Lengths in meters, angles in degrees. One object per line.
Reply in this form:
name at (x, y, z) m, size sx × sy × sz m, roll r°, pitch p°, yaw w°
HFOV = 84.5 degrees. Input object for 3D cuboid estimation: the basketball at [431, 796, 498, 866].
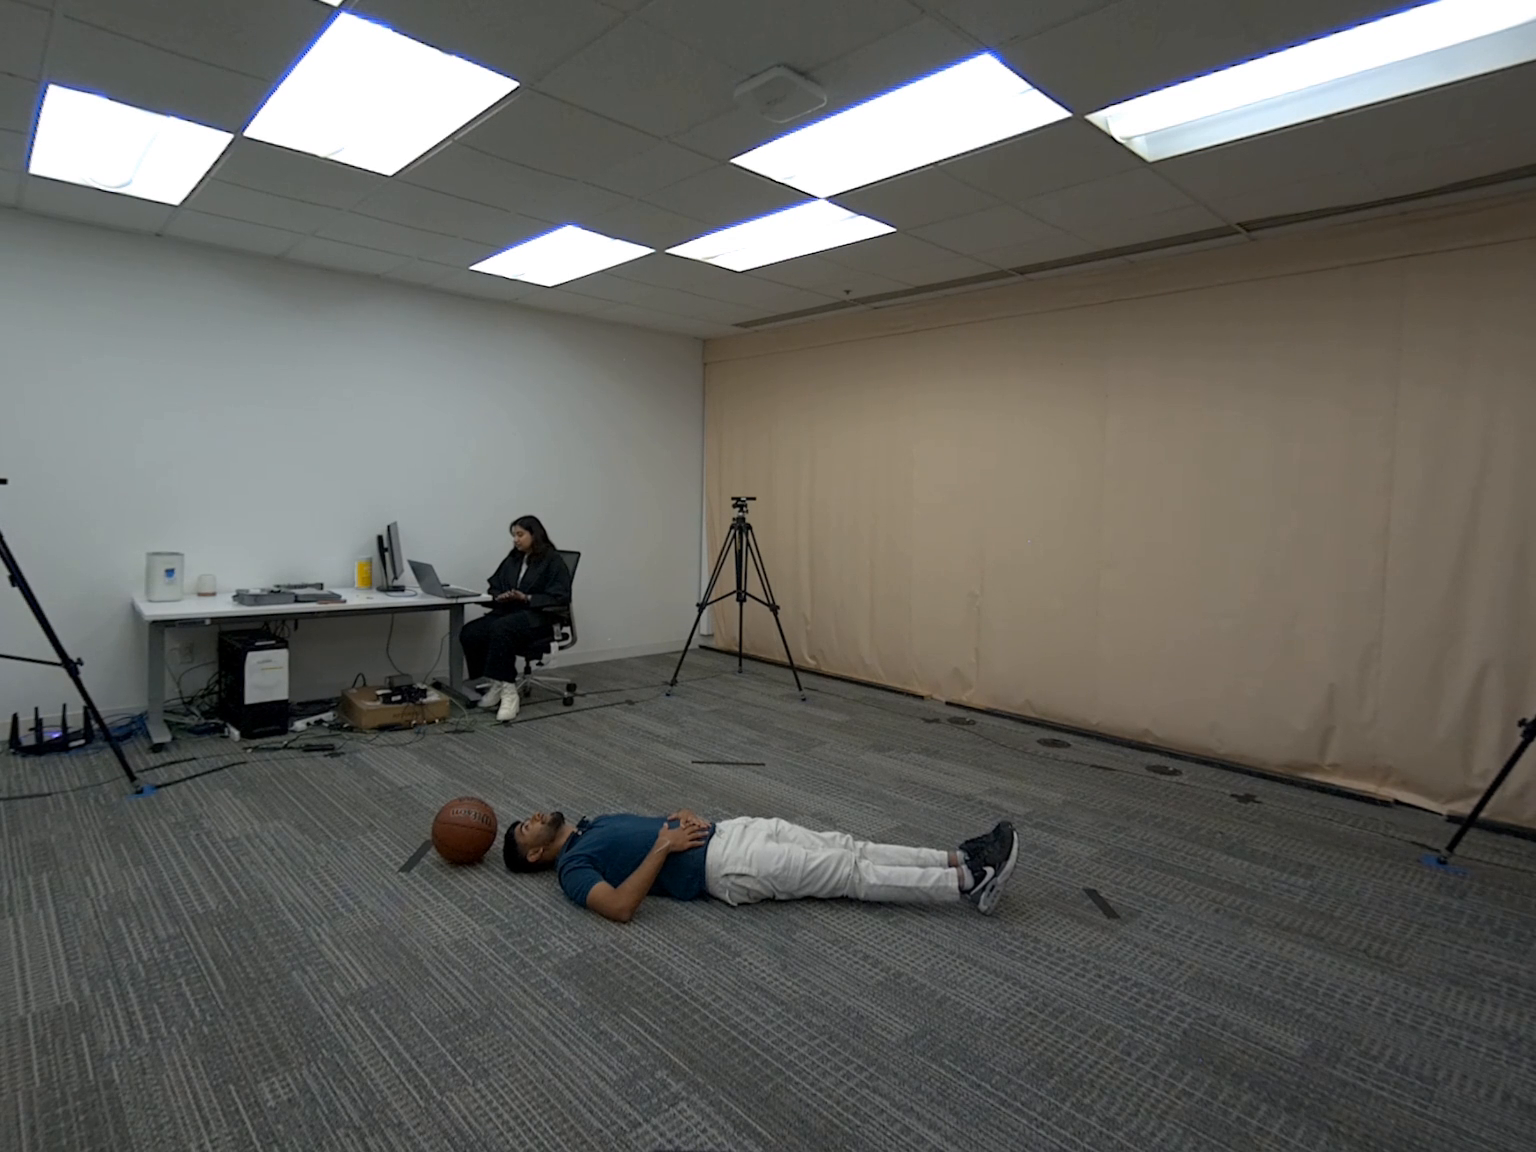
basketball at (-1.156, 0.958, 3.178) m, size 0.236 × 0.235 × 0.237 m, roll 1°, pitch 4°, yaw -1°
